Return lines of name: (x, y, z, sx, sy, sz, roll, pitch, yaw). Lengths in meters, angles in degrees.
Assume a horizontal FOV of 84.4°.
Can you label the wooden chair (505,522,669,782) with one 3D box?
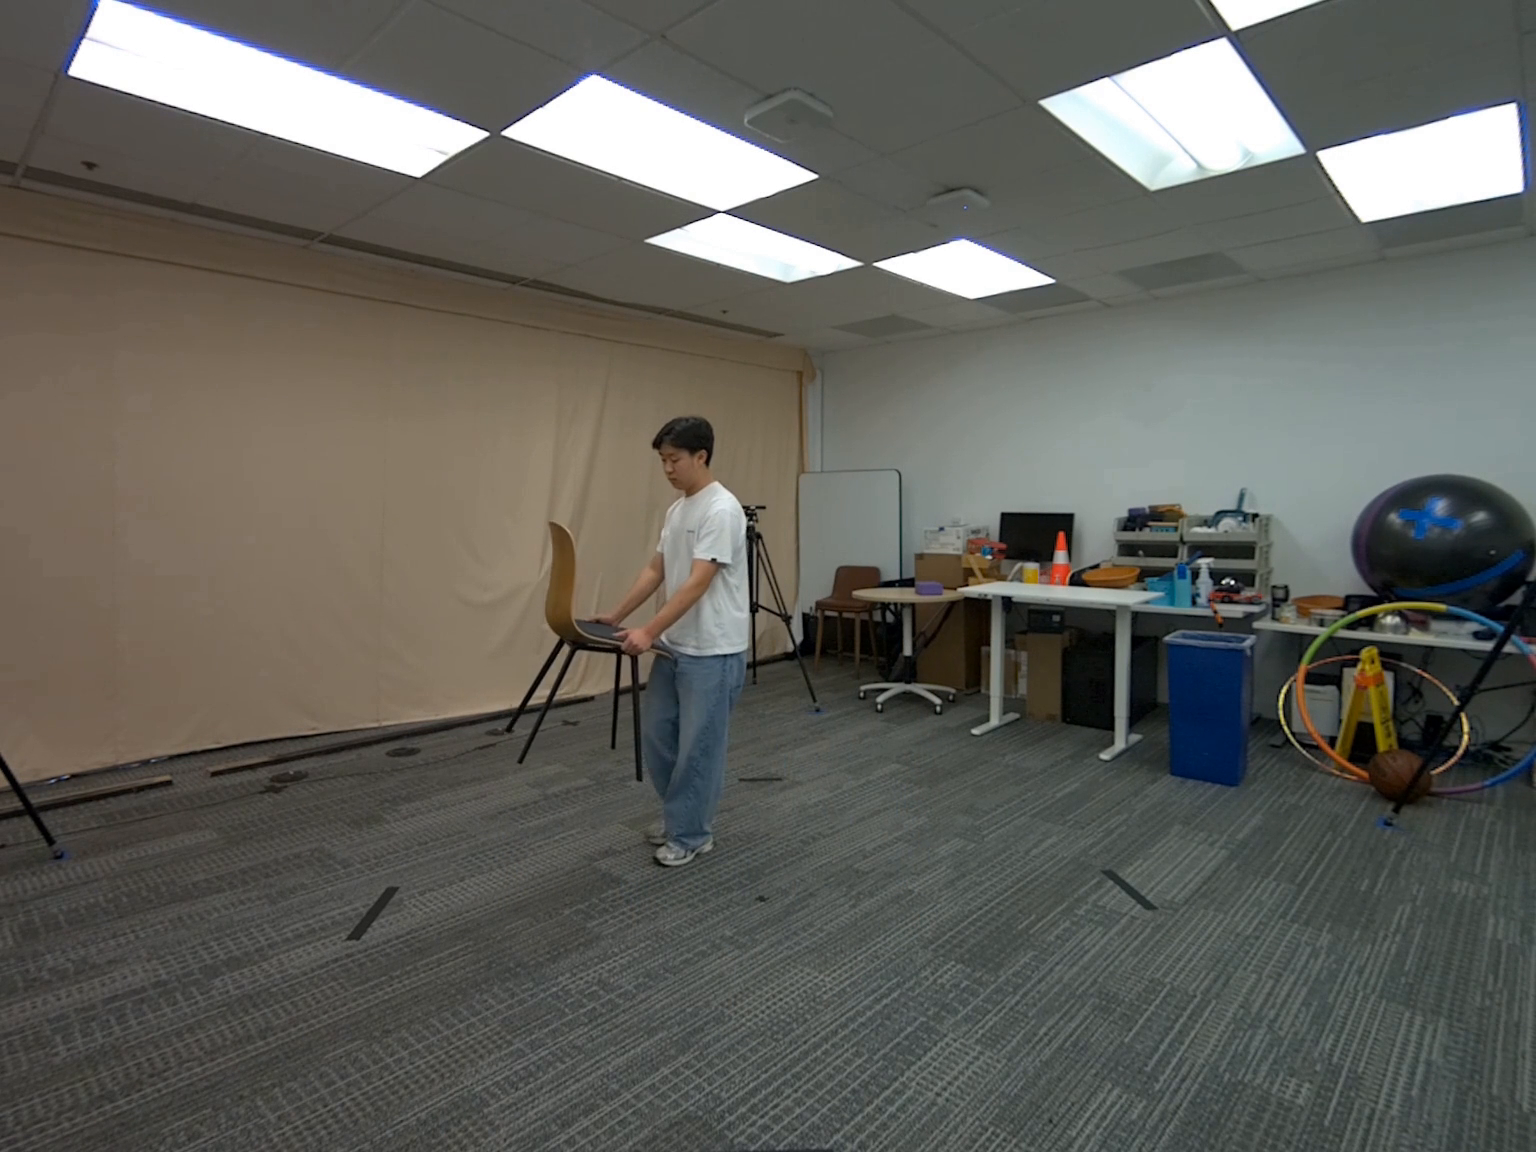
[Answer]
wooden chair: (-0.639, 0.271, 3.182, 0.511, 0.878, 0.489, 10, -1, -22)
